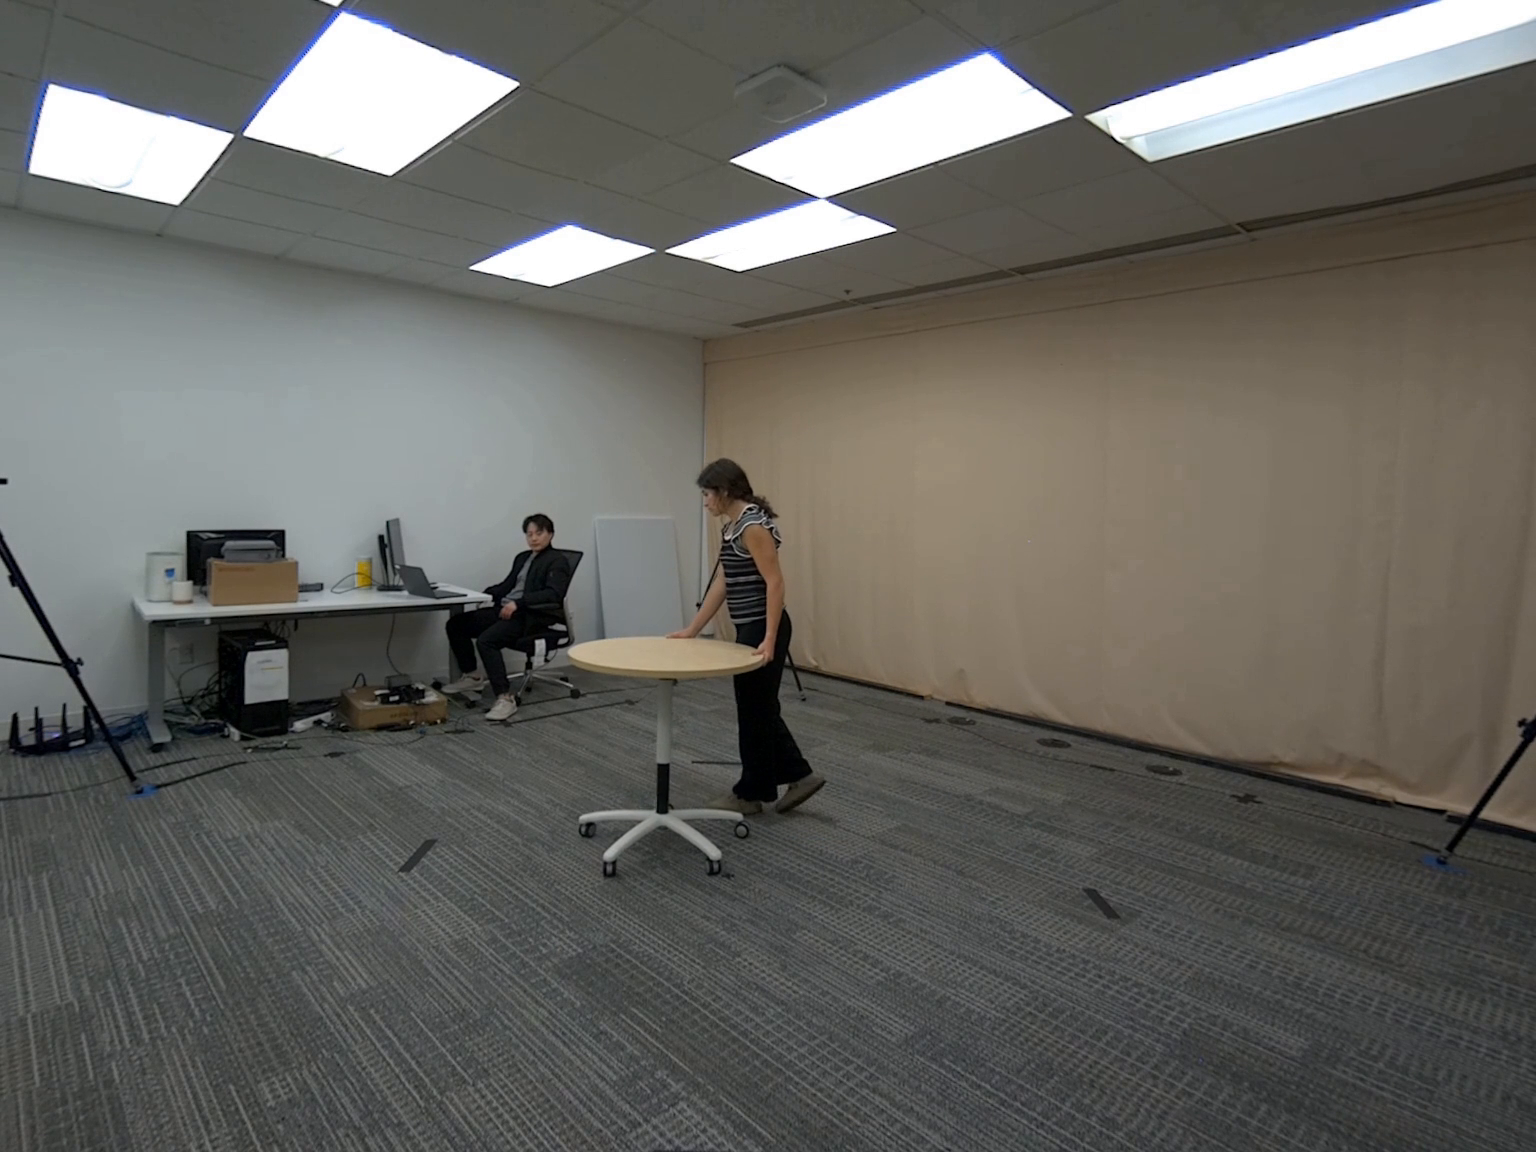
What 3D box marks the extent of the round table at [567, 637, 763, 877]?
[{"bbox_3d":[-0.420,0.692,3.326,0.763,0.792,0.766,1,3,-1],"label":"round table"}]
